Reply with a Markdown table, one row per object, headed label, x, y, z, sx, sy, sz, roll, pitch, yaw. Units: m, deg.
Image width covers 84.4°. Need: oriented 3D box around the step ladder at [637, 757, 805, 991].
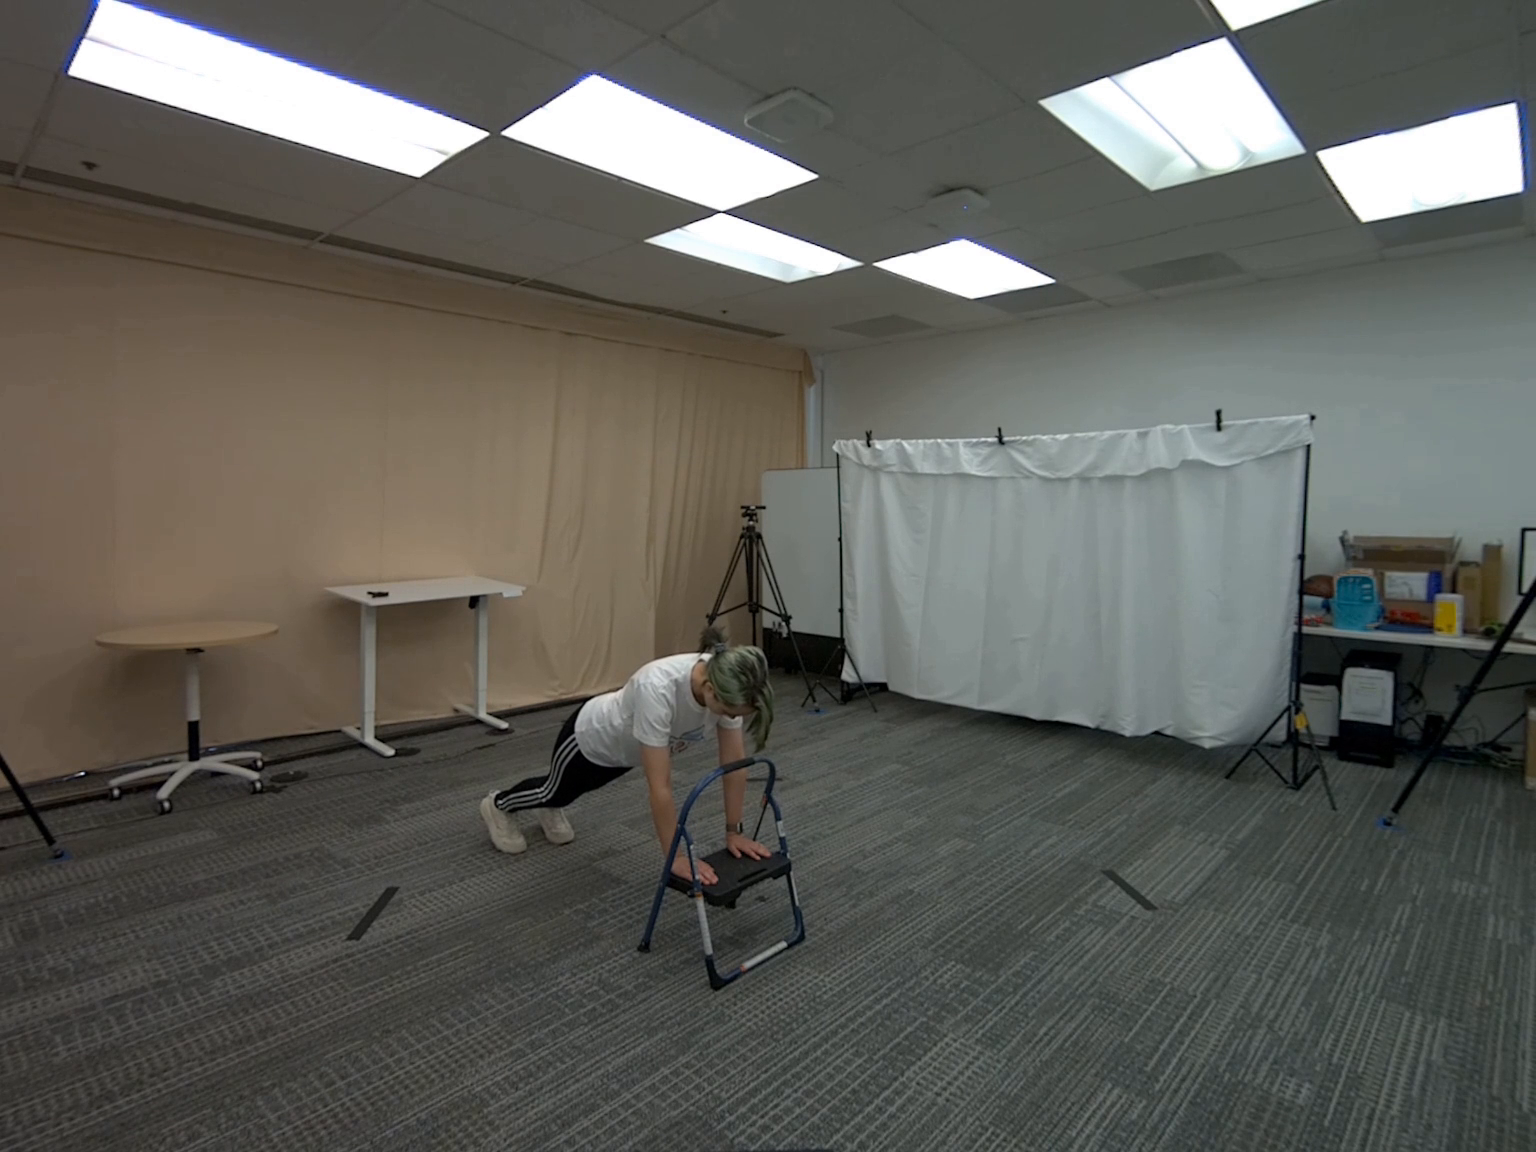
| label | x | y | z | sx | sy | sz | roll | pitch | yaw |
| --- | --- | --- | --- | --- | --- | --- | --- | --- | --- |
| step ladder | -0.138 | 0.870 | 2.661 | 0.361 | 0.605 | 0.417 | 3 | 4 | 42 |
